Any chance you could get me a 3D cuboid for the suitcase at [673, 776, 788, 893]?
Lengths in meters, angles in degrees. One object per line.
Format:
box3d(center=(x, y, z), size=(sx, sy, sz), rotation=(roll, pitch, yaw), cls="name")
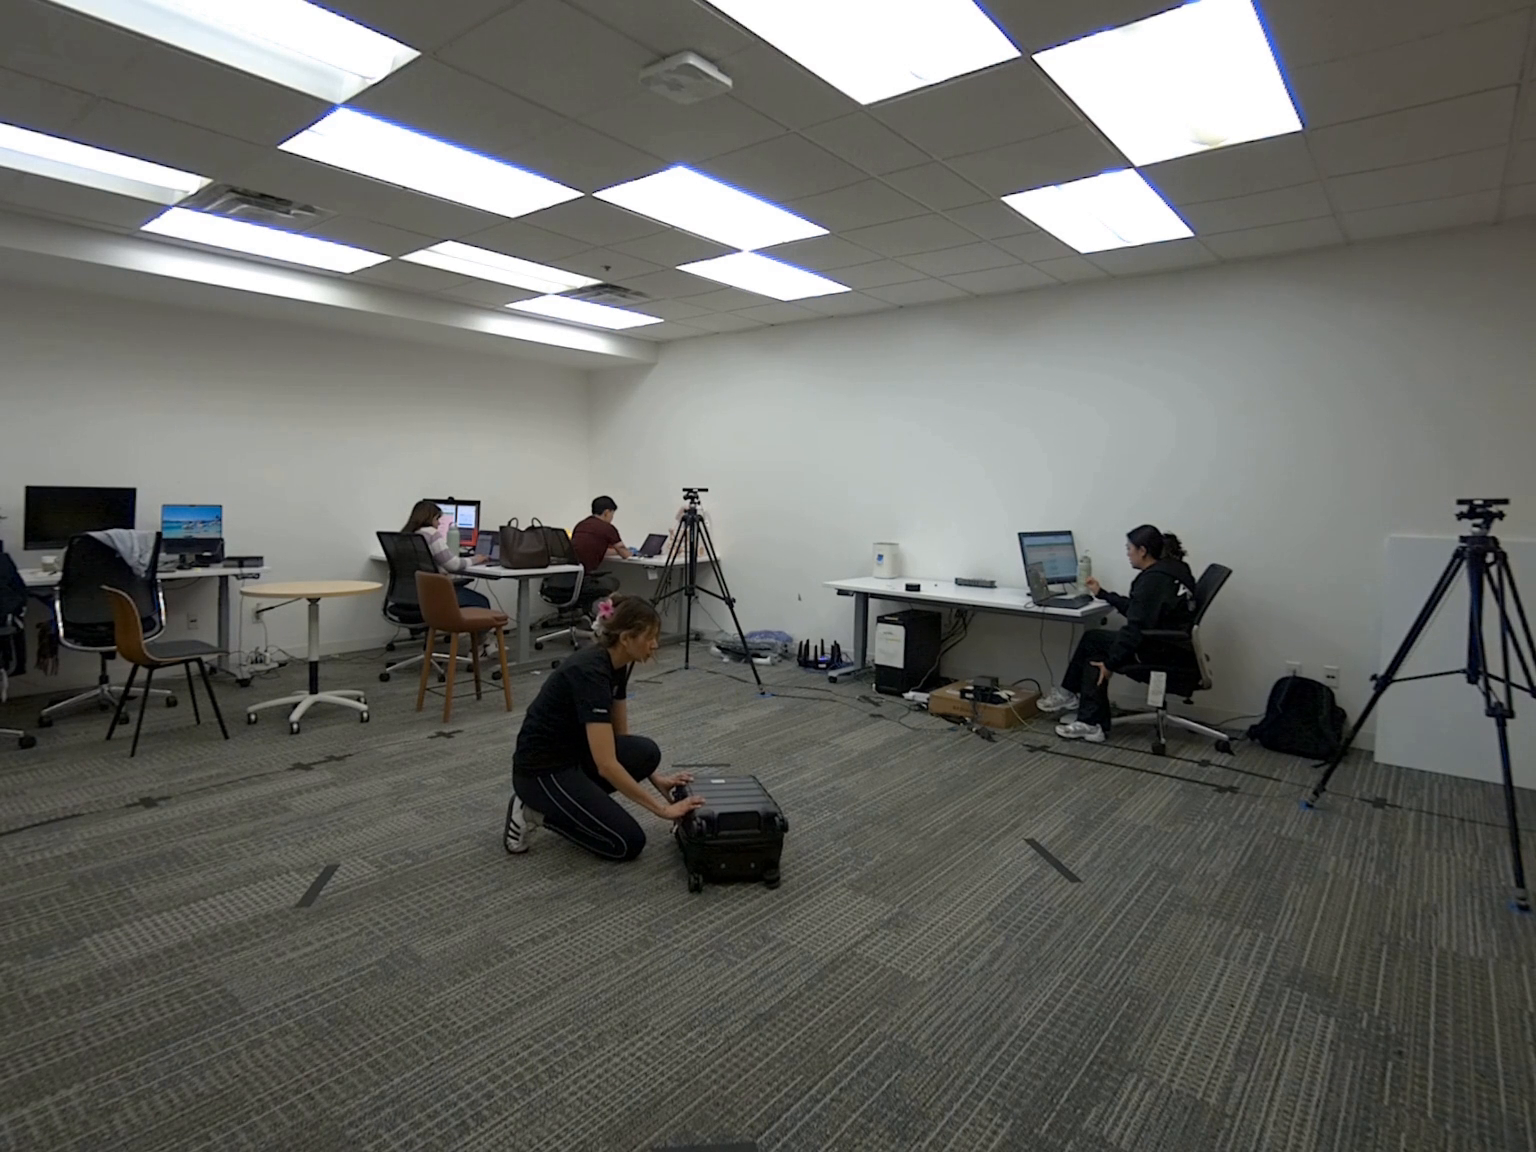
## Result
box3d(center=(-0.215, 0.914, 3.407), size=(0.379, 0.256, 0.995), rotation=(0, 6, -13), cls="suitcase")
